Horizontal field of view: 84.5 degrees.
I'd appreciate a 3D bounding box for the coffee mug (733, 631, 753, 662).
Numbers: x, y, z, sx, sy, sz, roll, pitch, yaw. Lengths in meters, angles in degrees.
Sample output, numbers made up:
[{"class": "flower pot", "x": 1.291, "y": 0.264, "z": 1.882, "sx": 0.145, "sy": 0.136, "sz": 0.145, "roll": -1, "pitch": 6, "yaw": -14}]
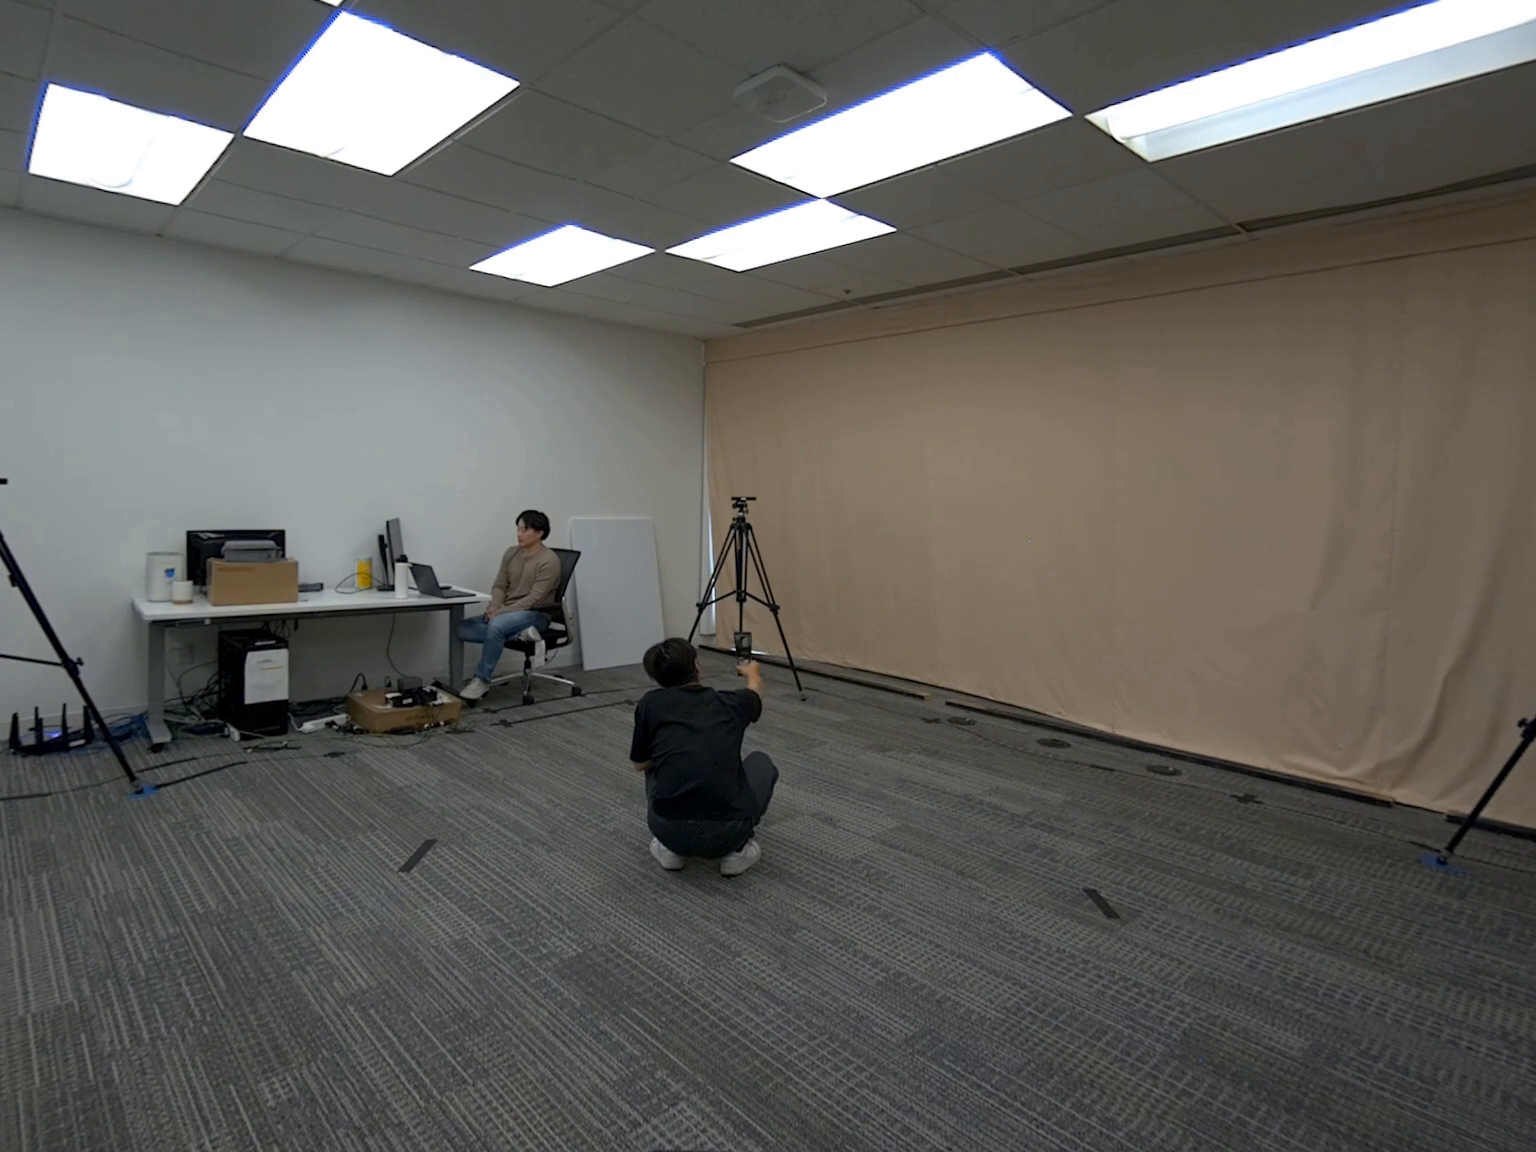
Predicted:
[{"class": "coffee mug", "x": -0.138, "y": 0.373, "z": 3.917, "sx": 0.090, "sy": 0.203, "sz": 0.119, "roll": -1, "pitch": -4, "yaw": 37}]
